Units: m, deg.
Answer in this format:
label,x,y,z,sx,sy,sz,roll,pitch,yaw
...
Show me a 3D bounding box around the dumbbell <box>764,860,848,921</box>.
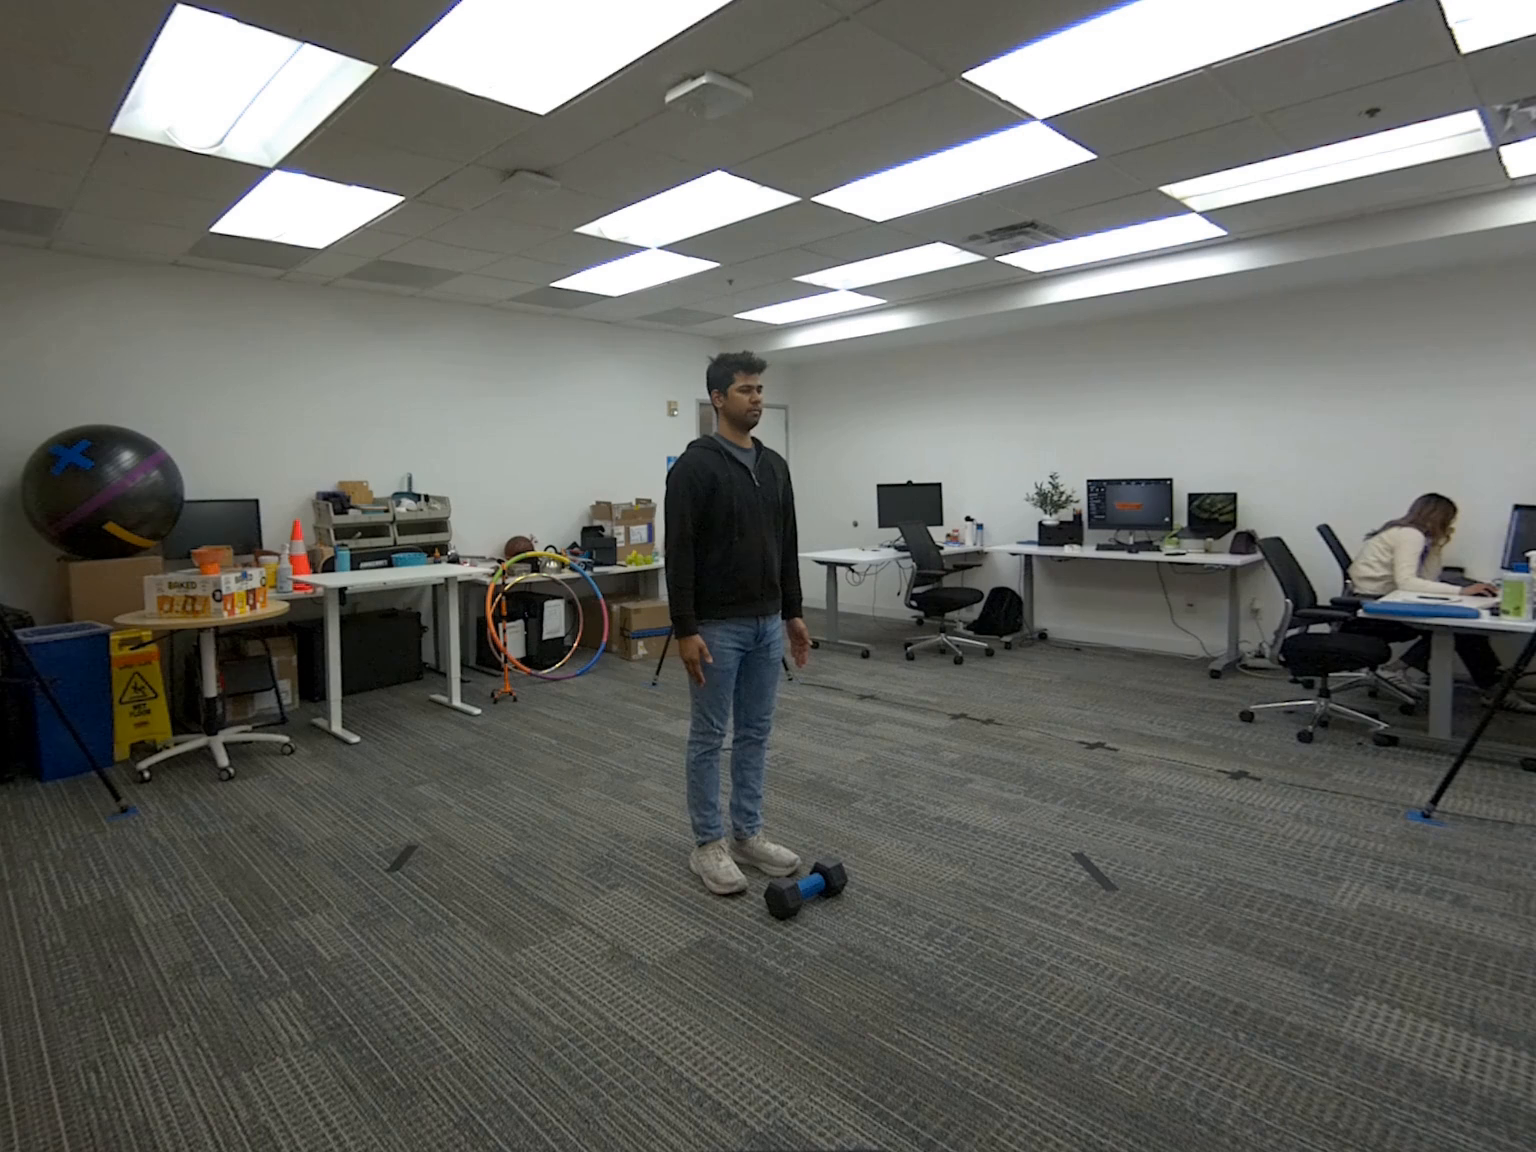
label,x,y,z,sx,sy,sz,roll,pitch,yaw
dumbbell,0.134,1.023,2.800,0.286,0.121,0.113,-7,38,-42
